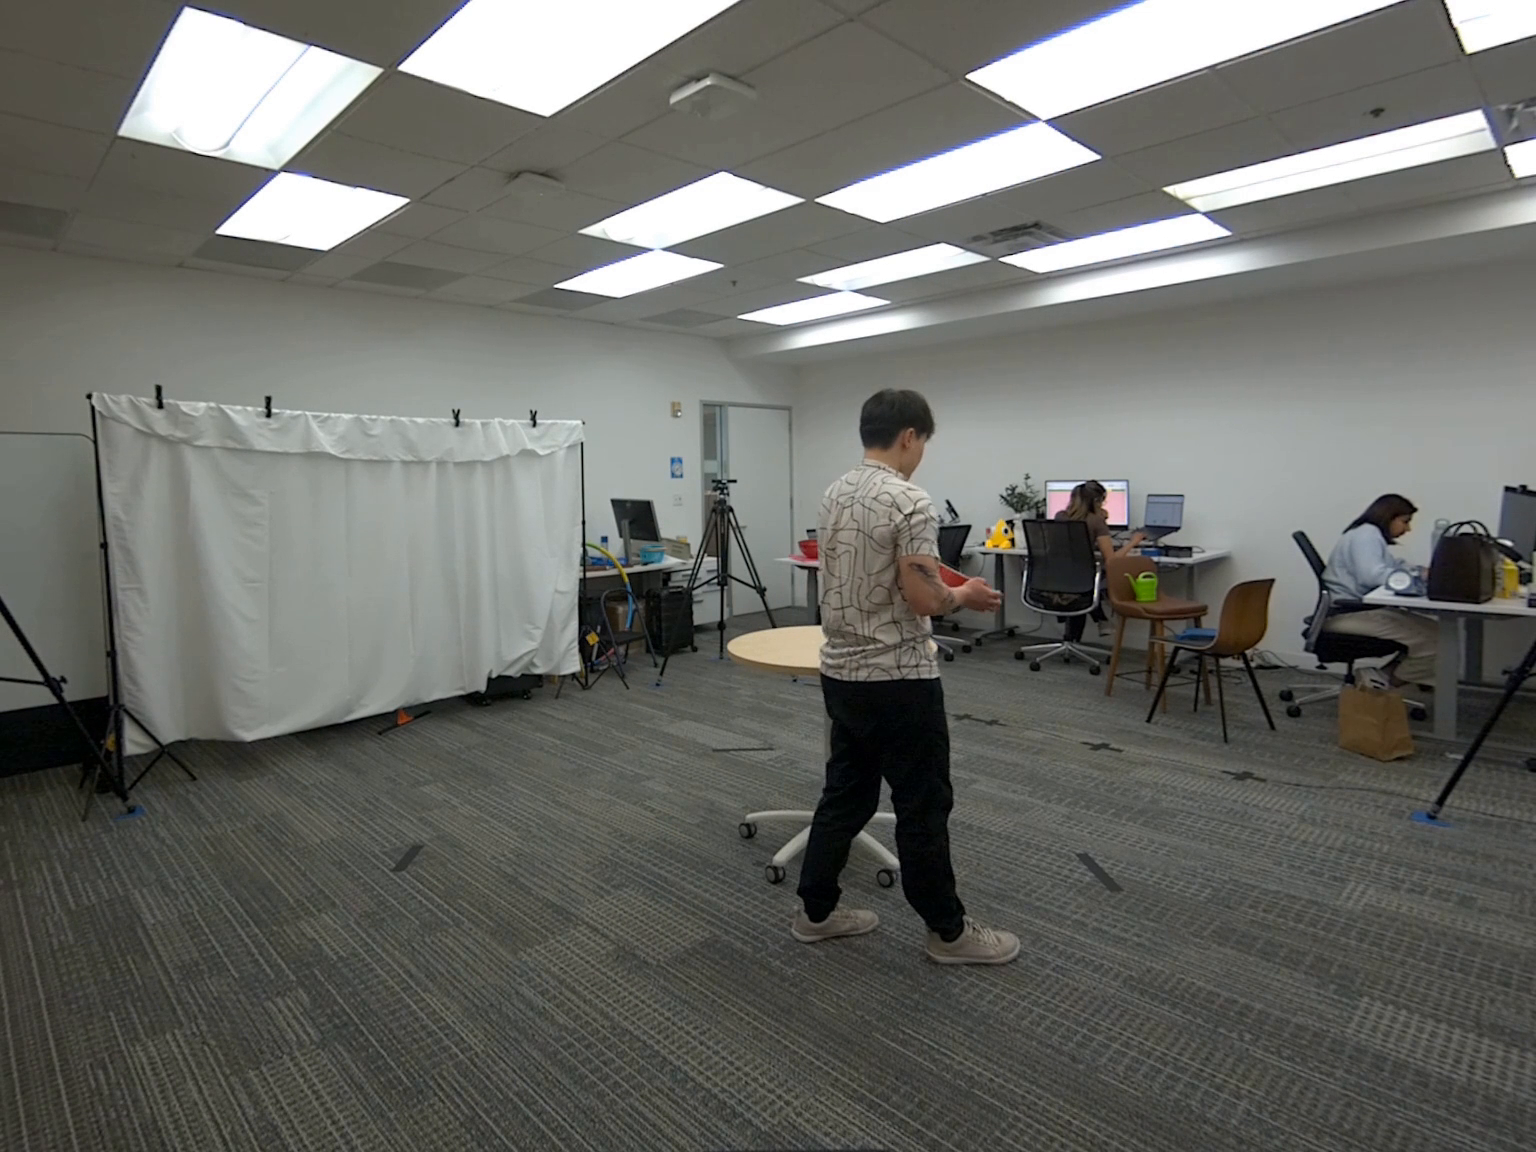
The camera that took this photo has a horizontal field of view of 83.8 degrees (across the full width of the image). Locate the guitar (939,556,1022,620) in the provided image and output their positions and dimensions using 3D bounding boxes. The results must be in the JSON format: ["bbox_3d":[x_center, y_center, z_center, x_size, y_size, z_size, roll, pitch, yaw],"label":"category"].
[{"bbox_3d":[0.582,-0.007,2.761,0.188,0.070,0.511,26,6,-22],"label":"guitar"}]
